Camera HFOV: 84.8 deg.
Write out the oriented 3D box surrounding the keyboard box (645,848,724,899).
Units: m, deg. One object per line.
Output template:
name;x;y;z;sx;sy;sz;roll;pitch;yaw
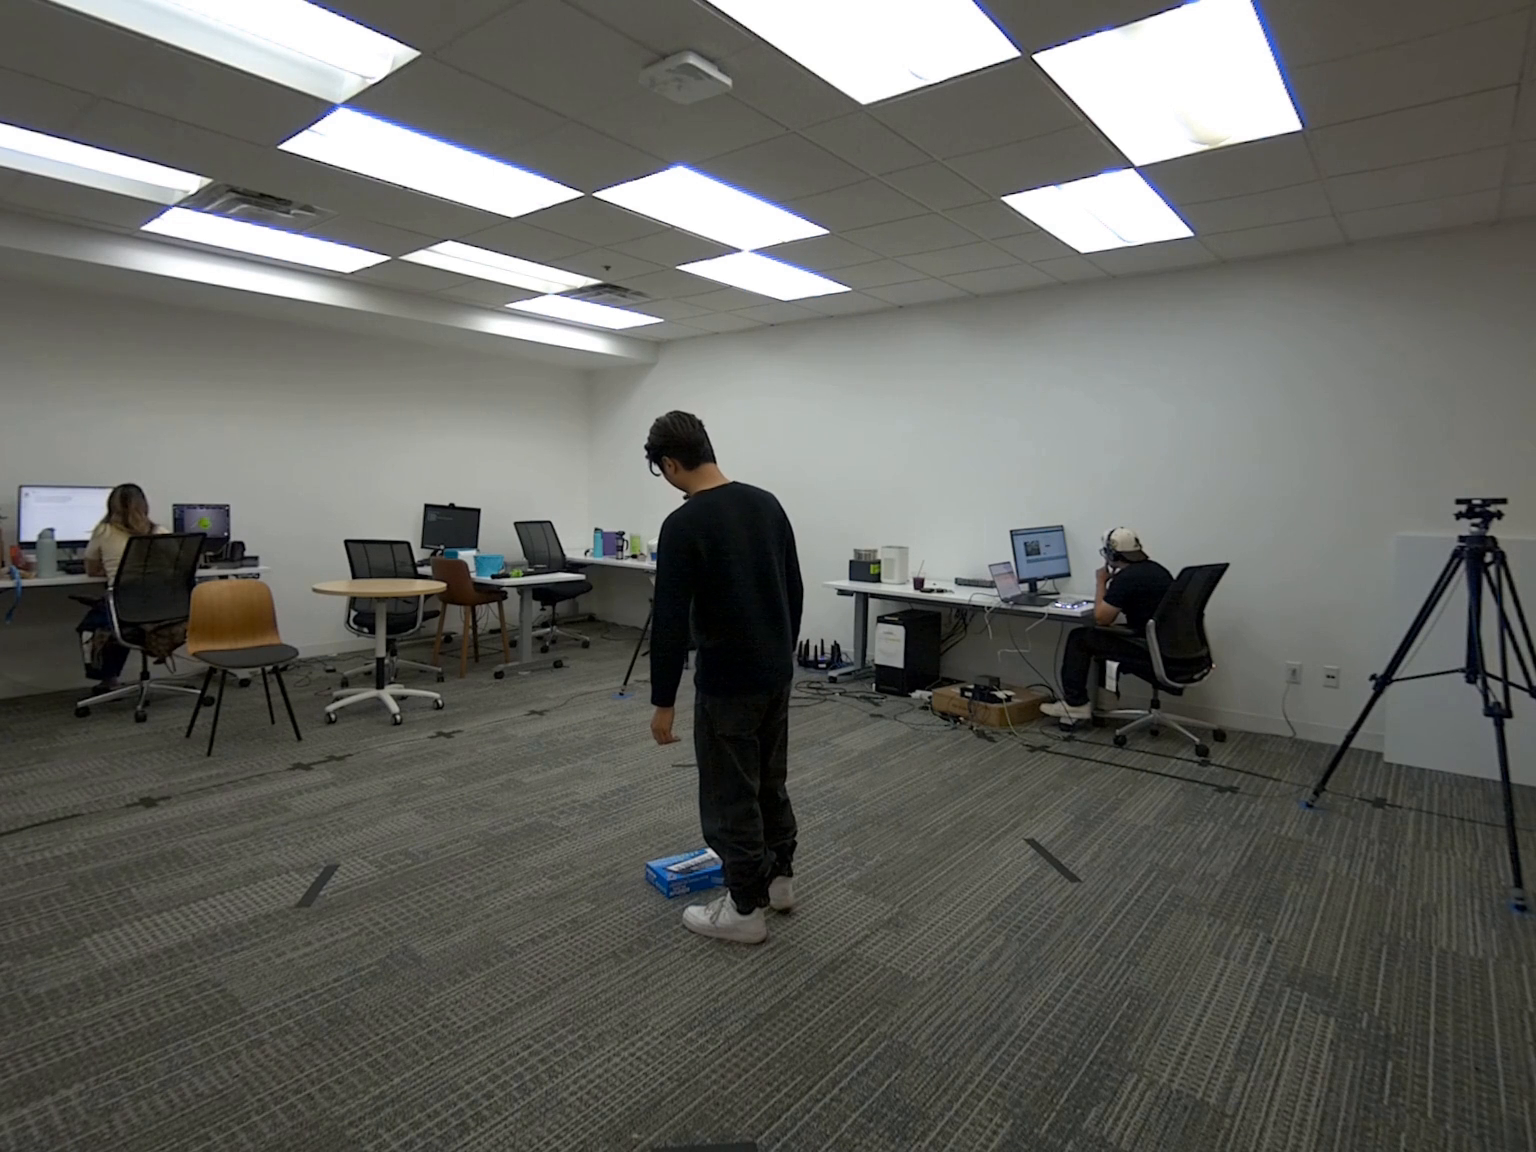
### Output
keyboard box;-0.221;1.045;3.064;0.424;0.059;0.182;-2;6;-33
